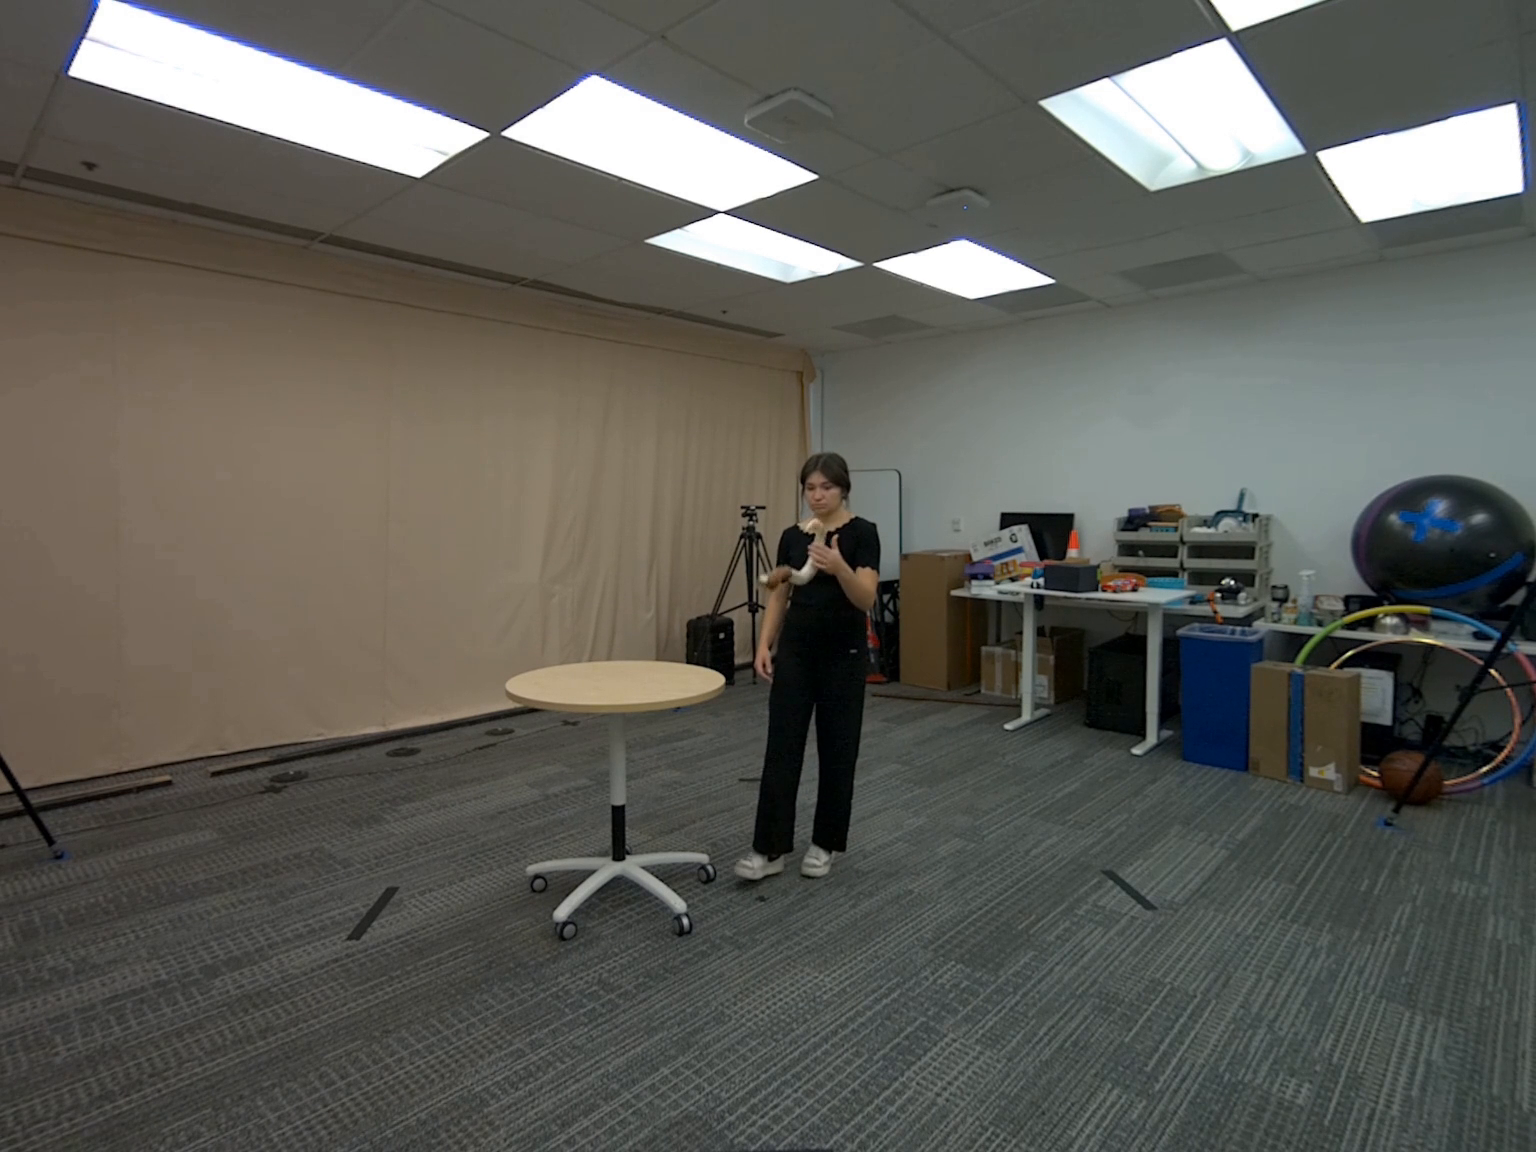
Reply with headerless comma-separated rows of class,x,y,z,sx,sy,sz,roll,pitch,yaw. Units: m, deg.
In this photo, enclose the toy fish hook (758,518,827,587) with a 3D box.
toy fish hook,0.088,-0.026,2.687,0.049,0.223,0.496,10,11,21
